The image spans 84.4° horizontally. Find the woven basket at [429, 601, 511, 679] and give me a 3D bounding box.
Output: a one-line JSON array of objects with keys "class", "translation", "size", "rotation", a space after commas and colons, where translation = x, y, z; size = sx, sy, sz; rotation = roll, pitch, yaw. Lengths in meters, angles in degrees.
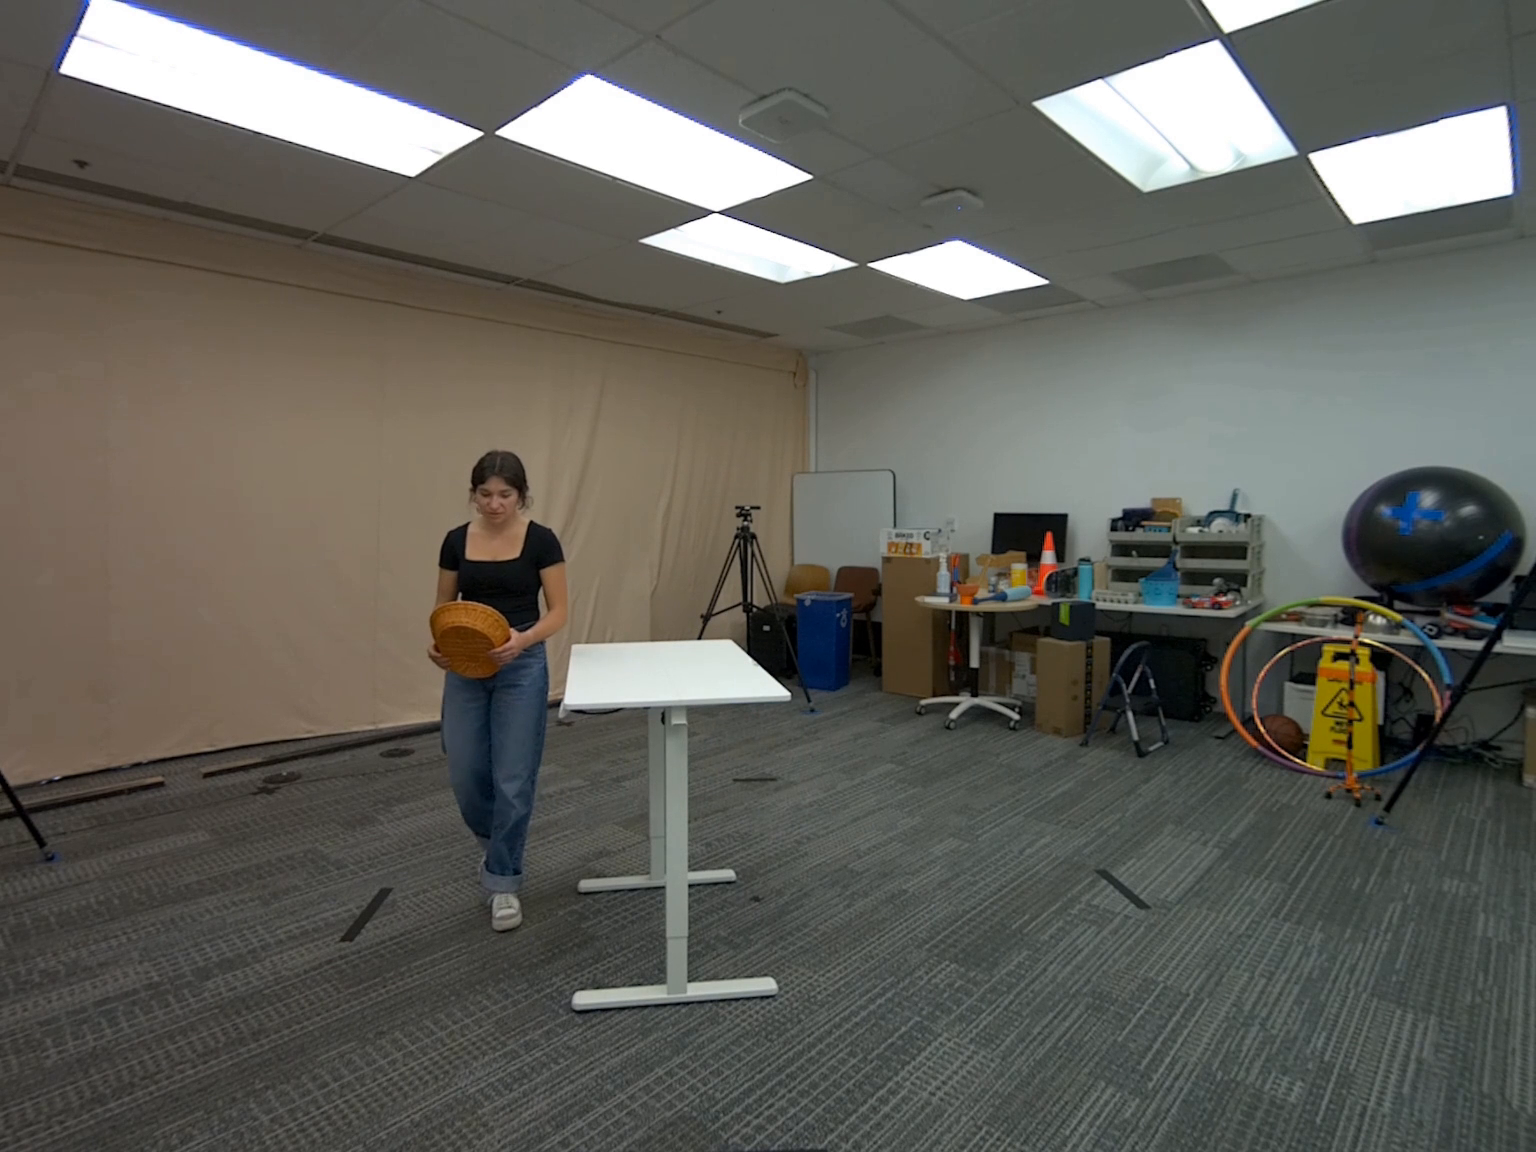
[{"class": "woven basket", "translation": [-0.941, 0.213, 2.677], "size": [0.252, 0.075, 0.344], "rotation": [1, -41, -3]}]
